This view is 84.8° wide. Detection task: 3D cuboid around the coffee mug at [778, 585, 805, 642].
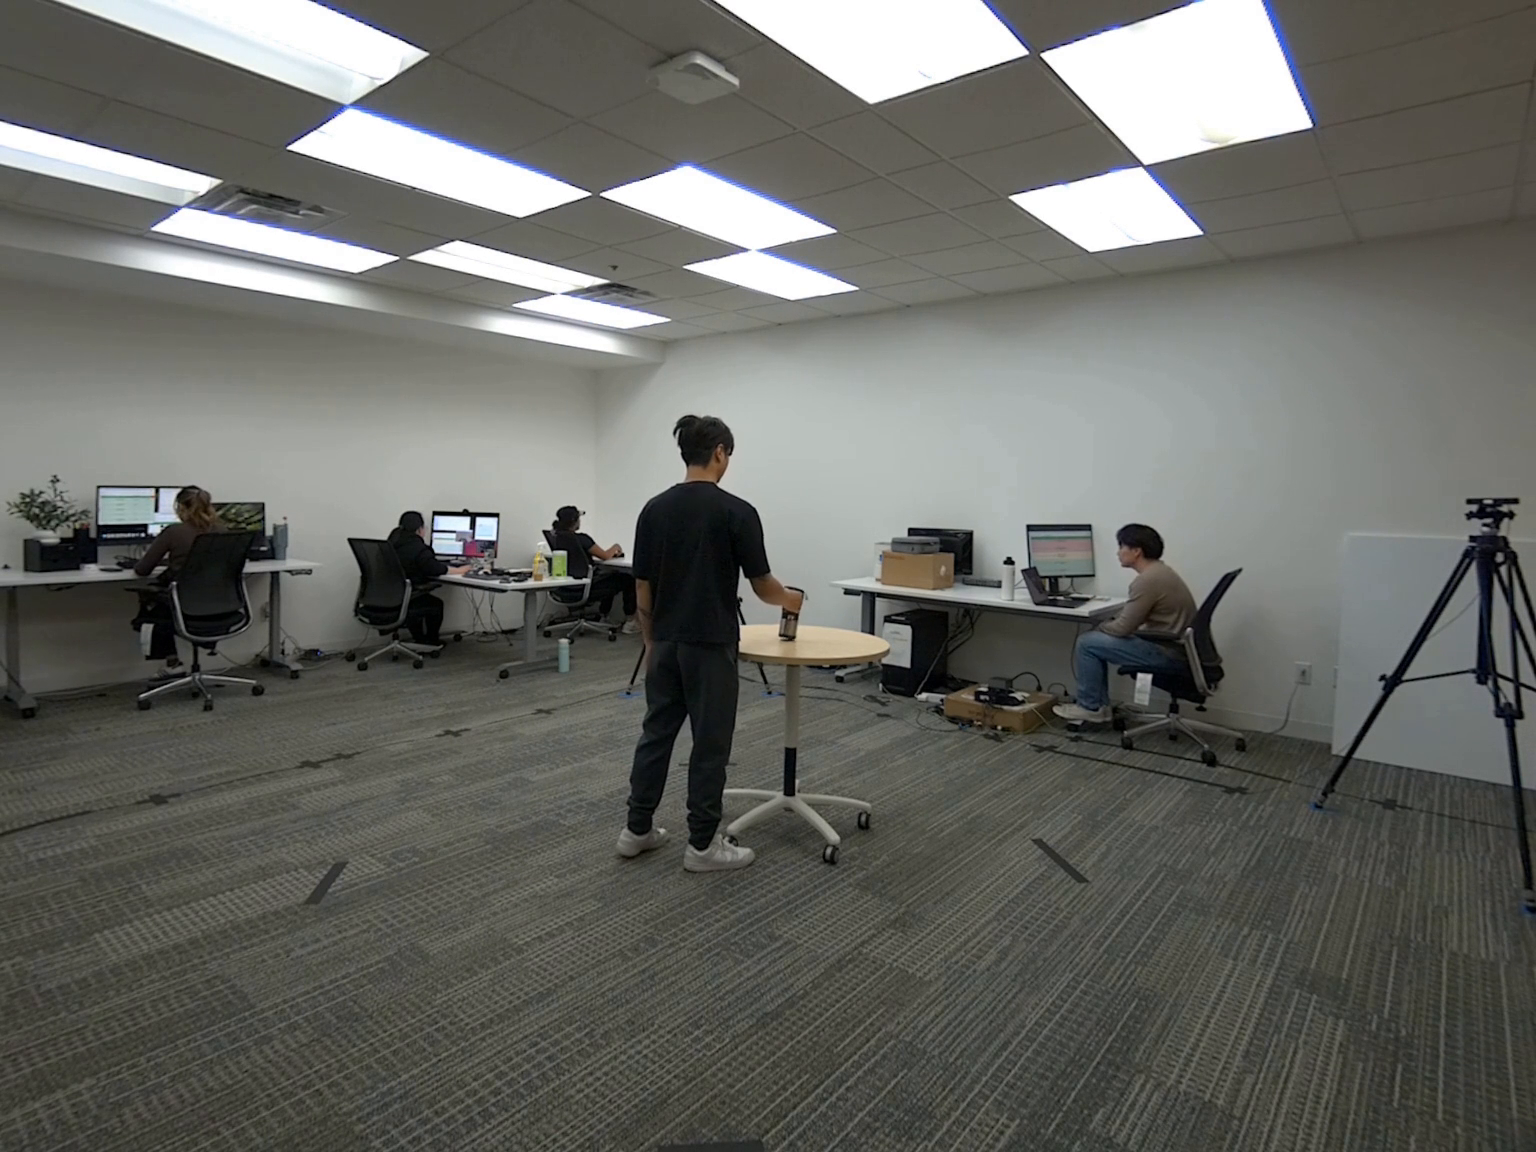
[{"bbox_3d":[0.077,0.143,3.446,0.091,0.204,0.117,6,-10,38],"label":"coffee mug"}]
